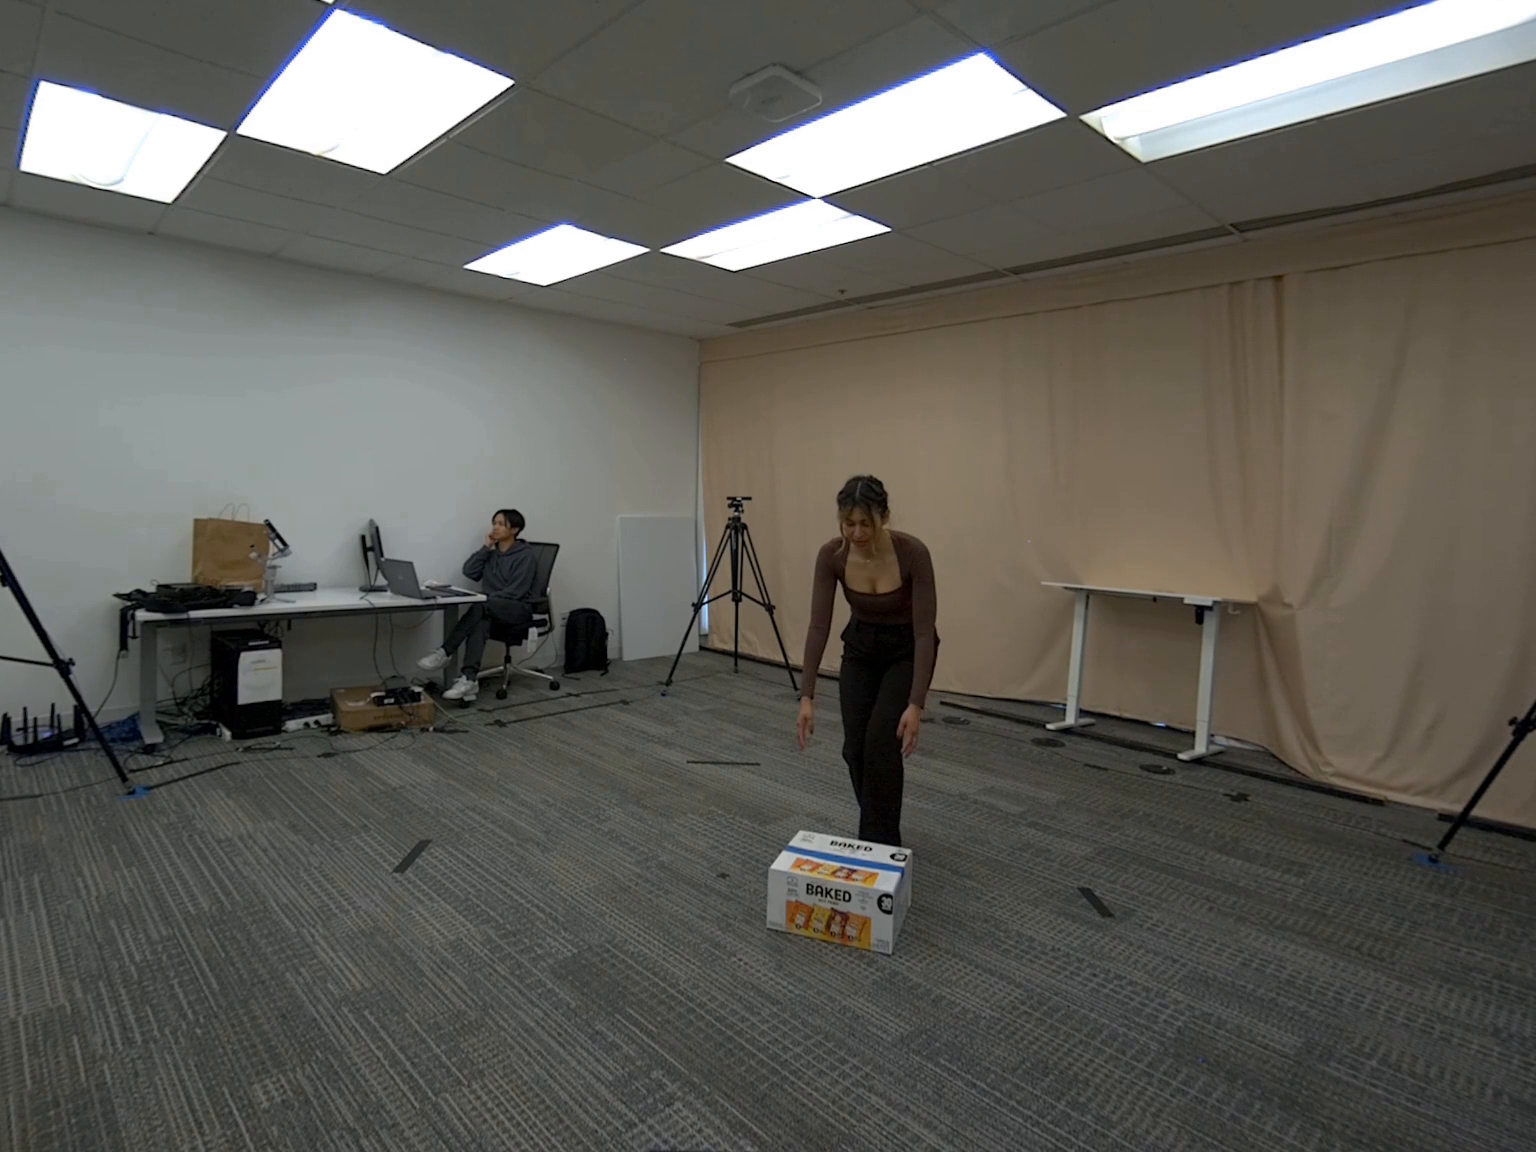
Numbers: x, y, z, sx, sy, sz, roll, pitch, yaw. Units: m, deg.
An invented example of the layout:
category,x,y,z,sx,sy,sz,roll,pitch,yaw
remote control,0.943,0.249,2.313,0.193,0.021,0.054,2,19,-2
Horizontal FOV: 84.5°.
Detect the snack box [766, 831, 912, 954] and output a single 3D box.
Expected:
category,x,y,z,sx,sy,sz,roll,pitch,yaw
snack box,0.241,1.040,2.800,0.412,0.205,0.336,3,5,20
